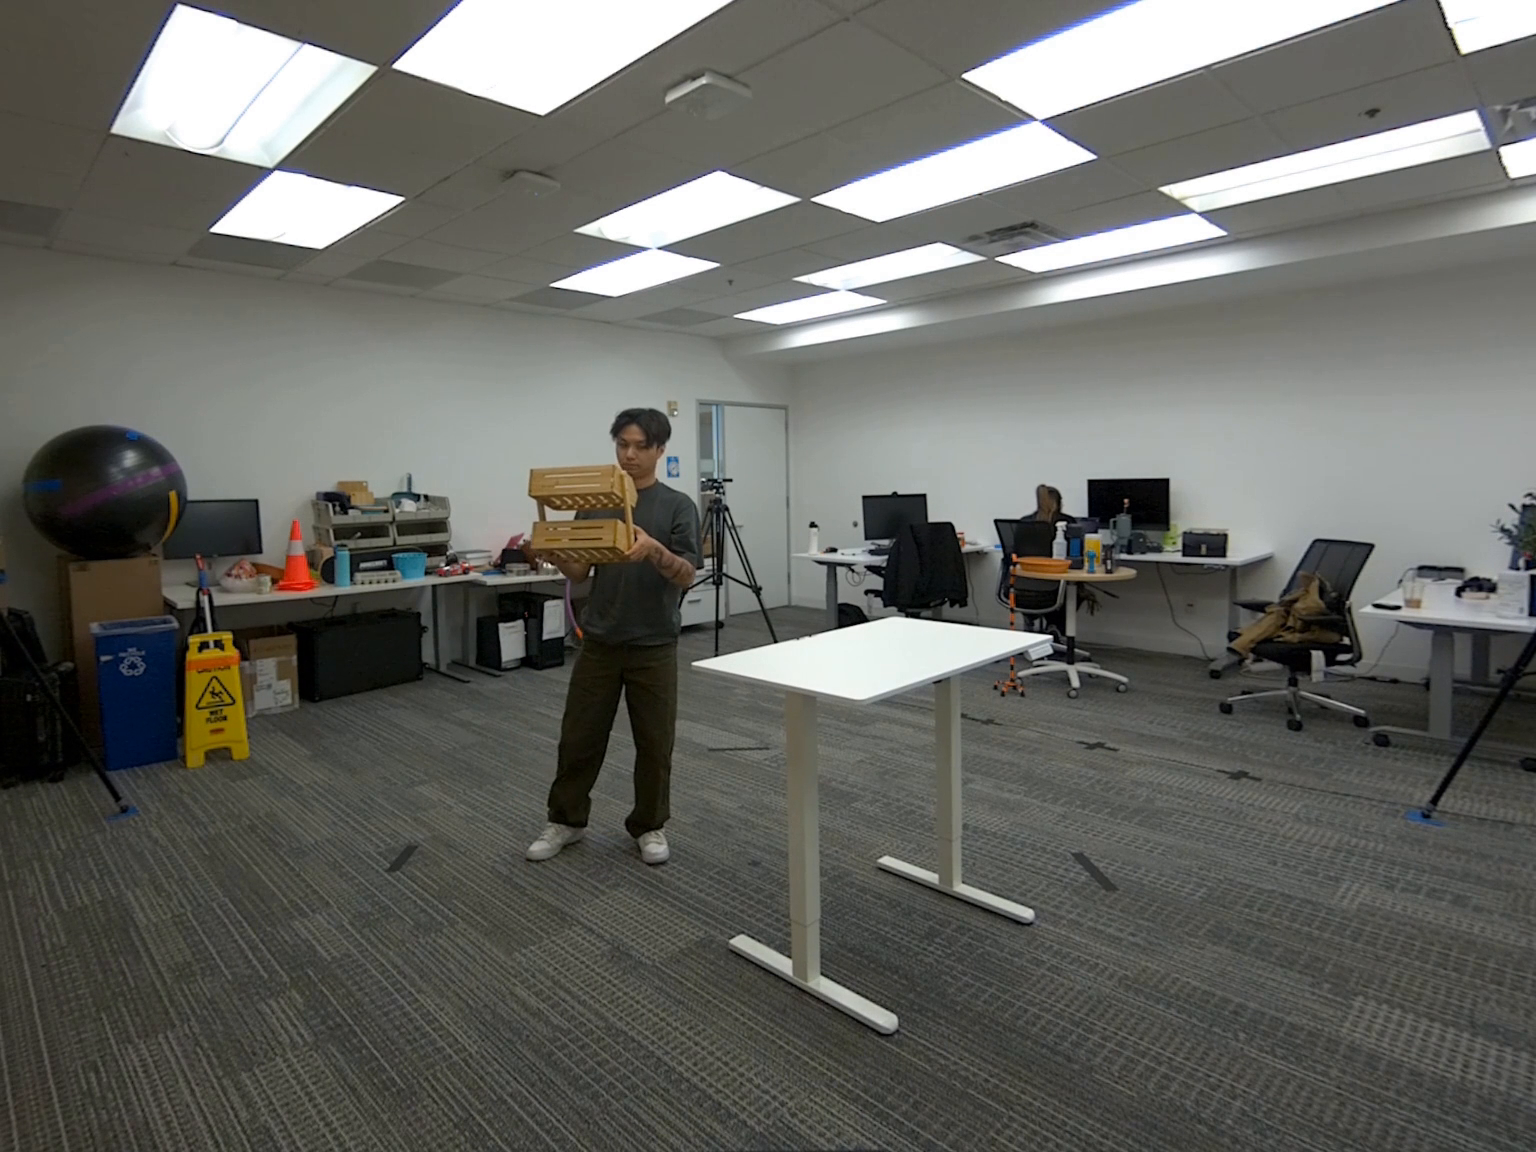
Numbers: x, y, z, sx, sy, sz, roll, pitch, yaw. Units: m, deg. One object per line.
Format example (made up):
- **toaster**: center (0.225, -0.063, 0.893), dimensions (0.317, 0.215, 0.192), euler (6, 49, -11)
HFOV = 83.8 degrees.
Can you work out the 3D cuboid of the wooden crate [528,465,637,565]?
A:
- **wooden crate**: center (-0.623, -0.204, 2.890), dimensions (0.329, 0.276, 0.294), euler (-3, -12, 14)
